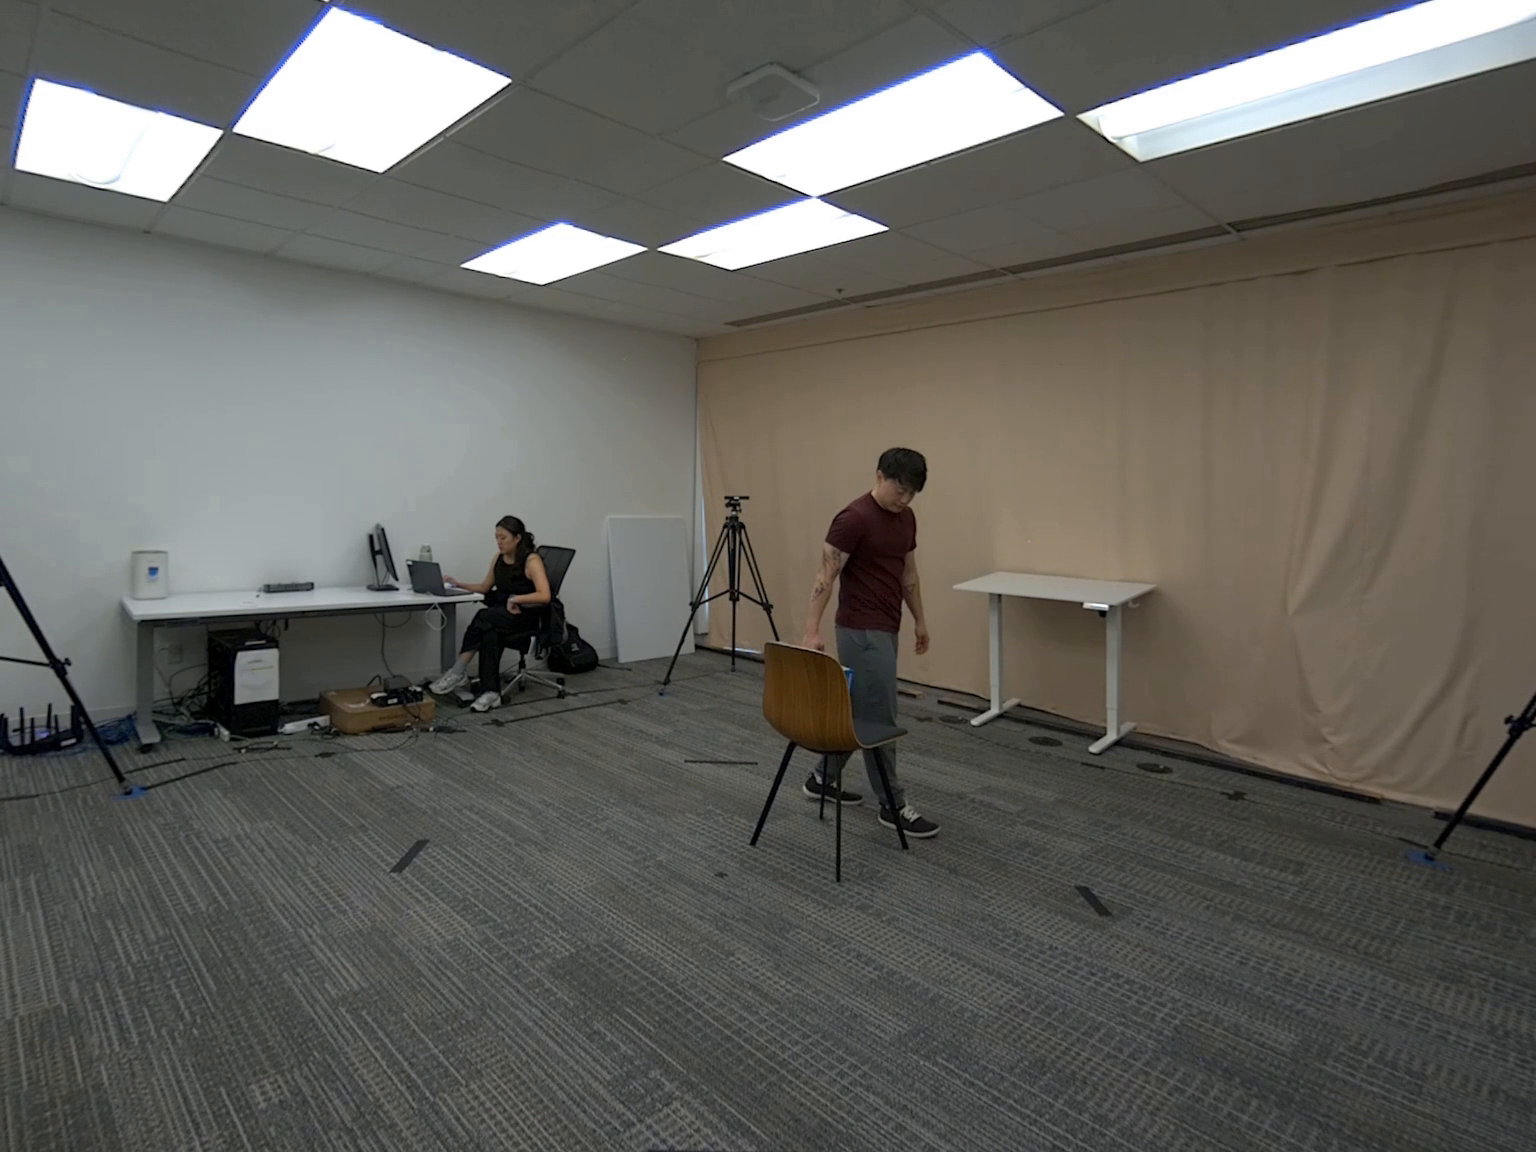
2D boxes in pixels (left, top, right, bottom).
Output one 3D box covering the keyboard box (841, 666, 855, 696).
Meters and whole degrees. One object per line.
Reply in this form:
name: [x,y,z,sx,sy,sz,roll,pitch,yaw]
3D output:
keyboard box: [0.178,0.424,3.568,0.058,0.175,0.449,-1,12,-40]
